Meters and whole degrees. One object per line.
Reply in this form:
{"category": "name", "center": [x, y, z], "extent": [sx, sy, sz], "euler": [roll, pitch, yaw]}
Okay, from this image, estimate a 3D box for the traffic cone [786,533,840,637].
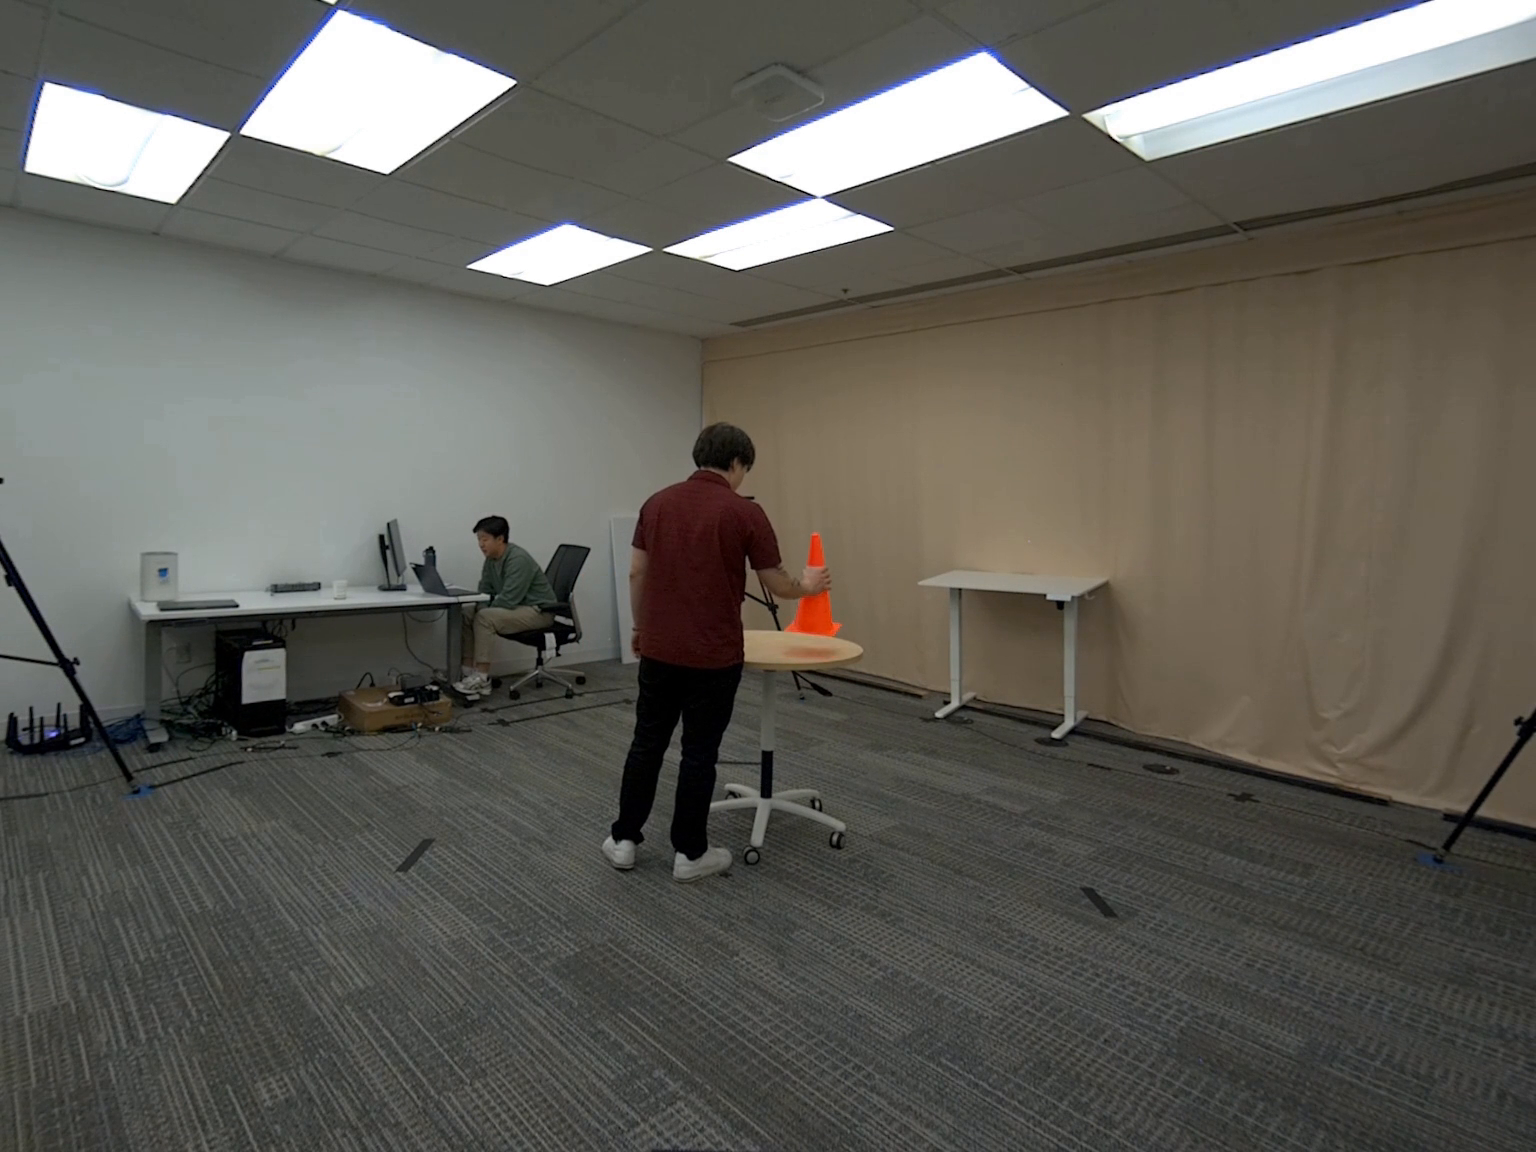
{"category": "traffic cone", "center": [0.176, 0.019, 3.330], "extent": [0.206, 0.380, 0.204], "euler": [2, 11, 14]}
